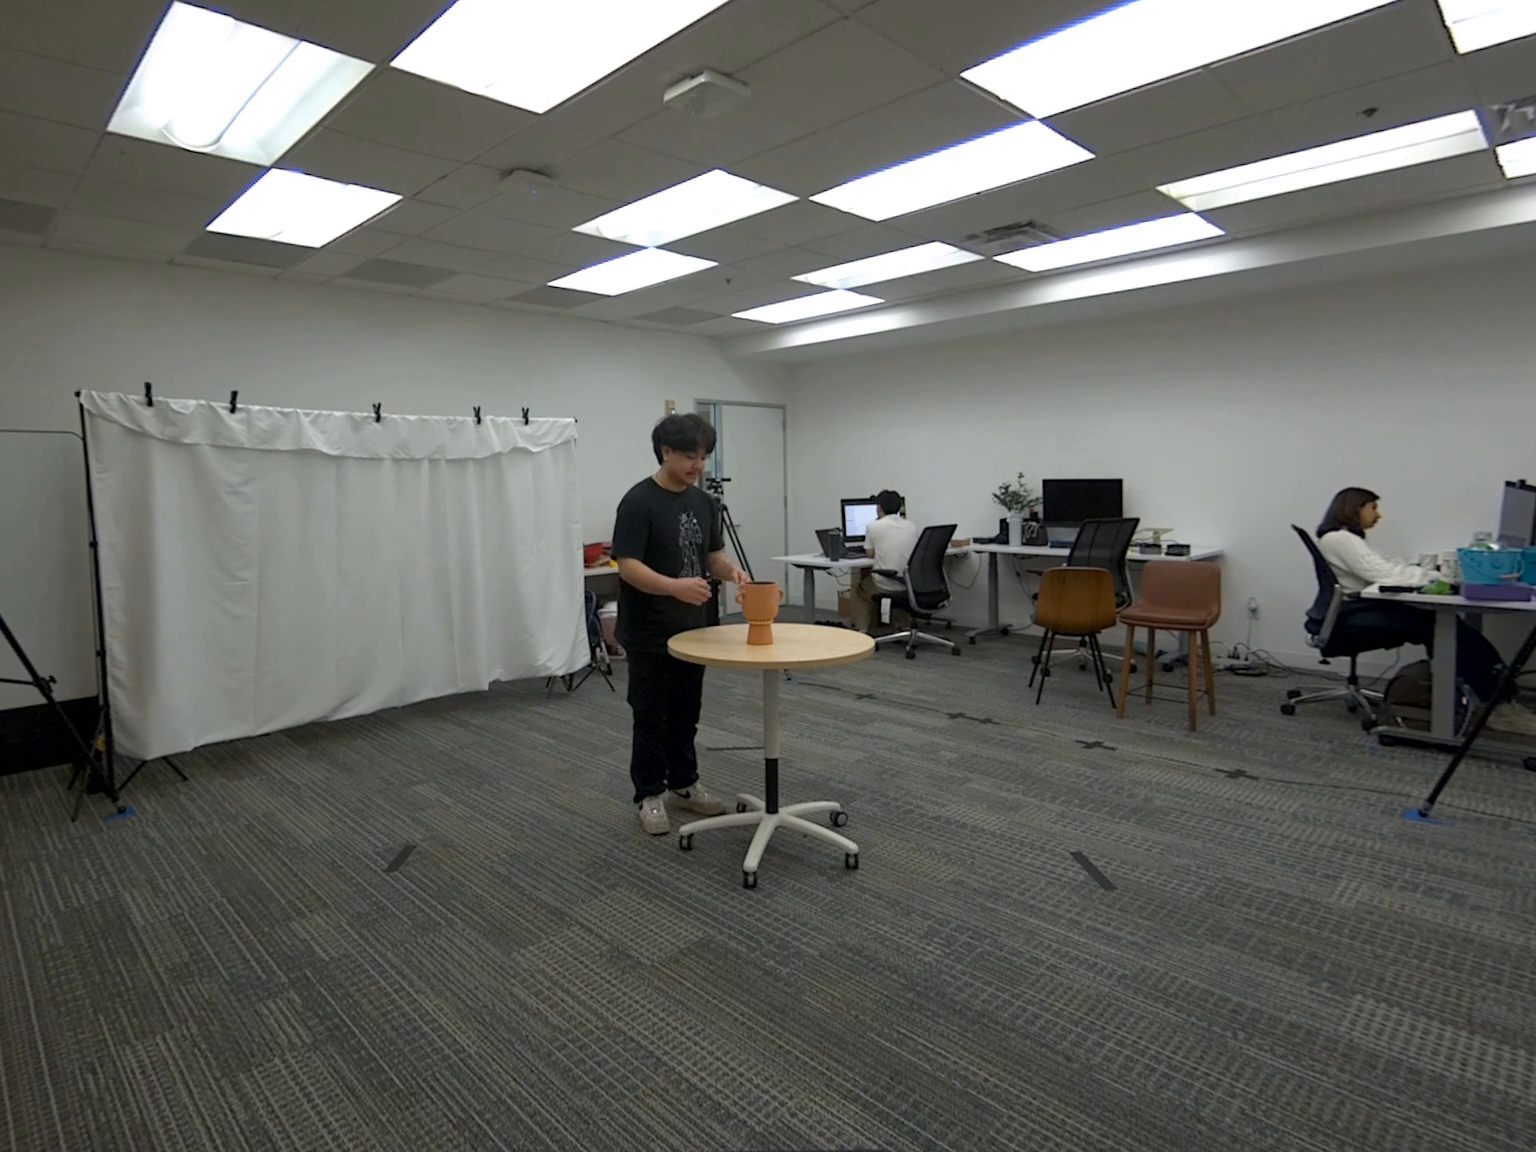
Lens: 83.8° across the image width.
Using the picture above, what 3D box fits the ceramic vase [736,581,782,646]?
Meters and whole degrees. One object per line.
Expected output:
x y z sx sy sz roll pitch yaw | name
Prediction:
-0.026 0.136 3.124 0.131 0.219 0.163 -1 2 -28 | ceramic vase
